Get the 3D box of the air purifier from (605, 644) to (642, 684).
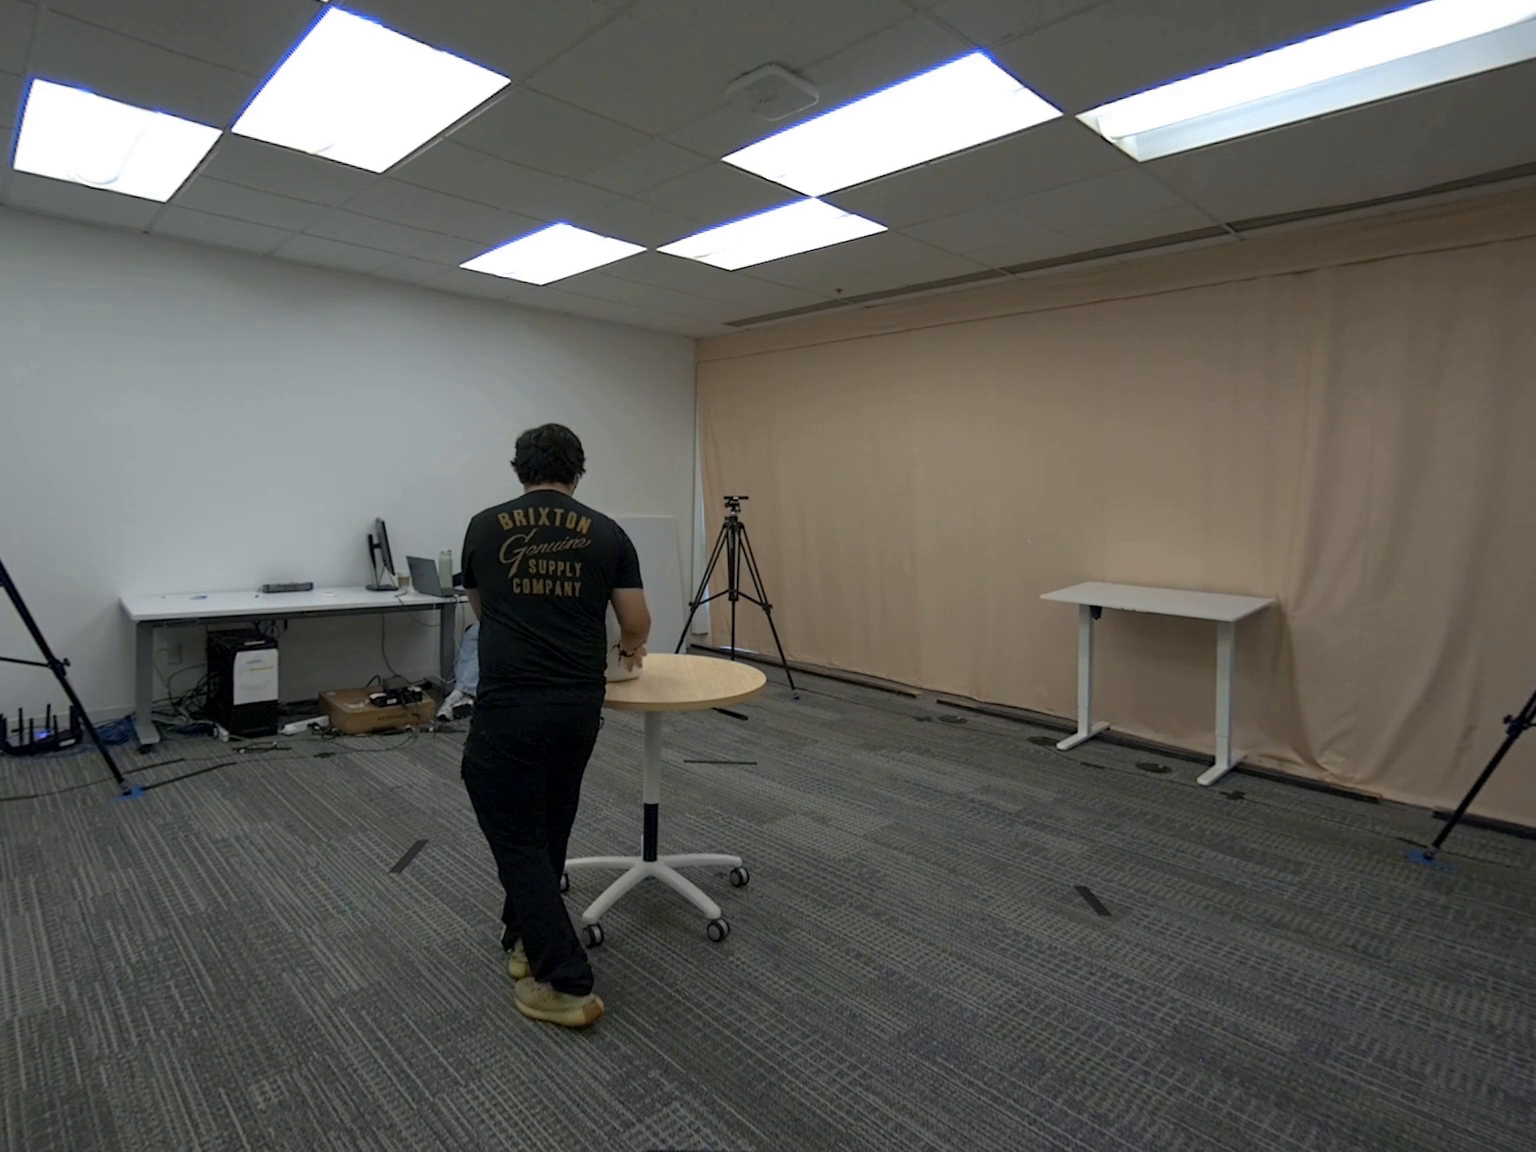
[{"bbox_3d":[-0.518,0.210,2.792,0.176,0.265,0.167,4,4,40],"label":"air purifier"}]
